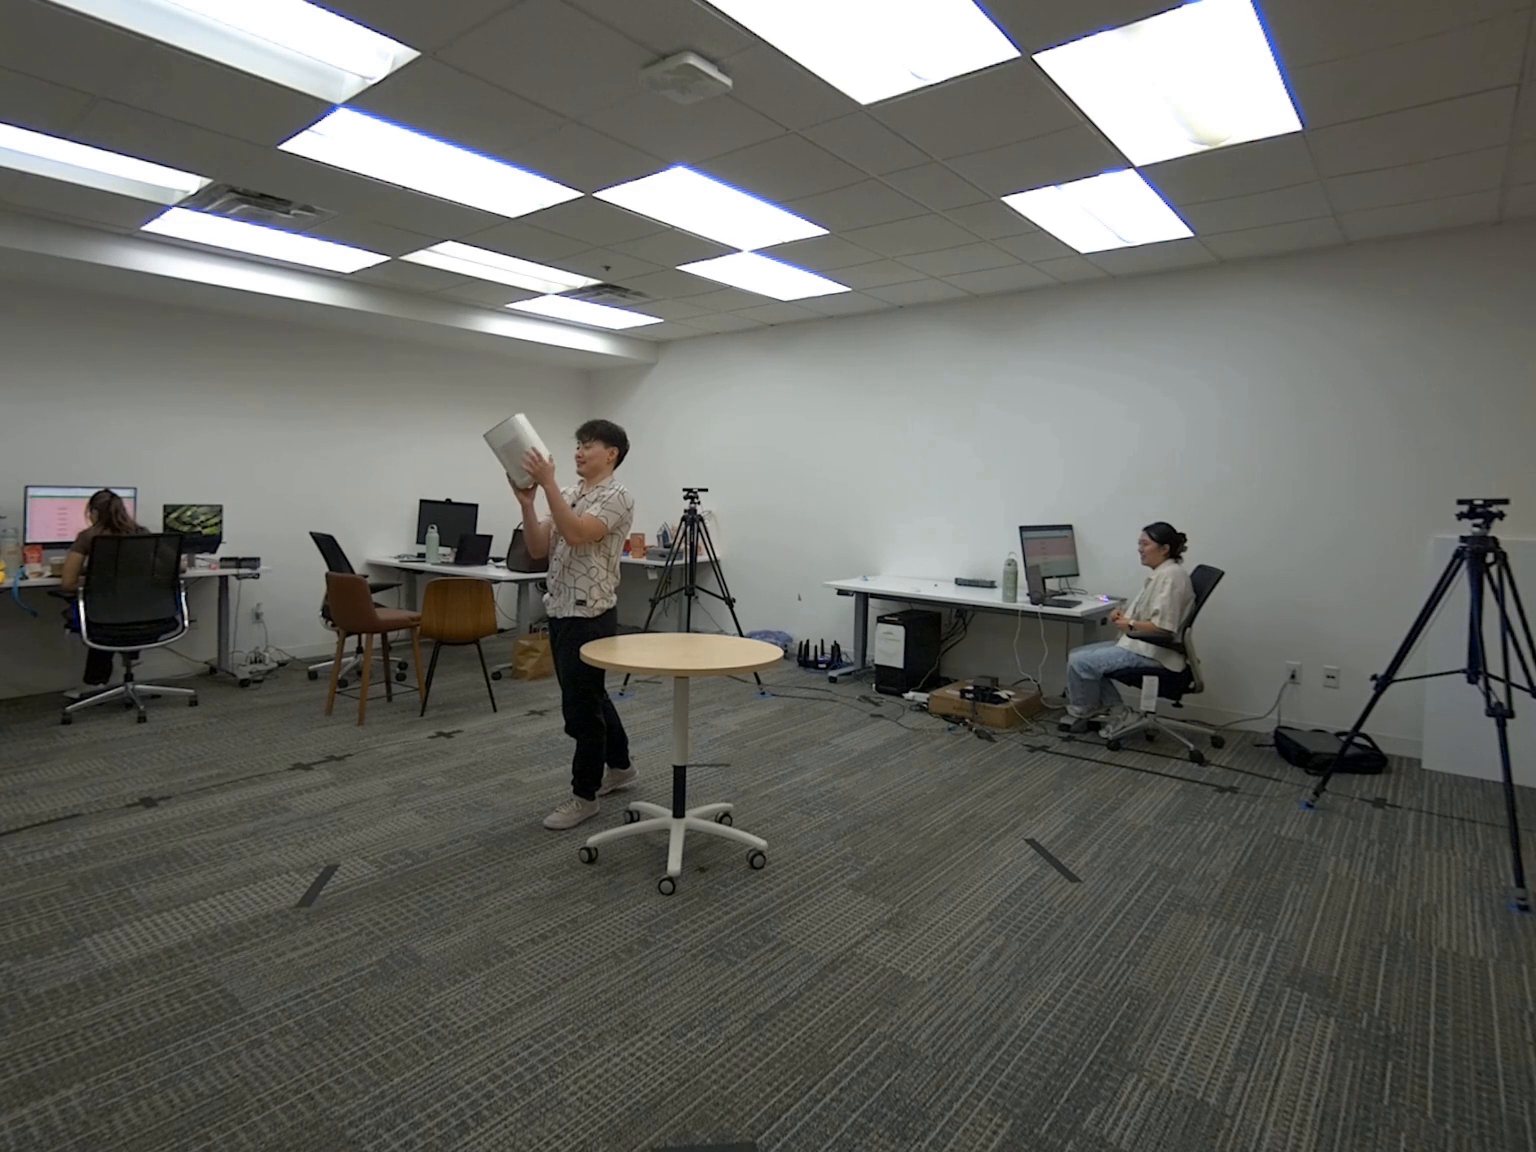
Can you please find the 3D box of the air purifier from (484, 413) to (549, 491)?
[{"bbox_3d":[-1.012,-0.505,3.449,0.172,0.263,0.172,-31,7,8],"label":"air purifier"}]
